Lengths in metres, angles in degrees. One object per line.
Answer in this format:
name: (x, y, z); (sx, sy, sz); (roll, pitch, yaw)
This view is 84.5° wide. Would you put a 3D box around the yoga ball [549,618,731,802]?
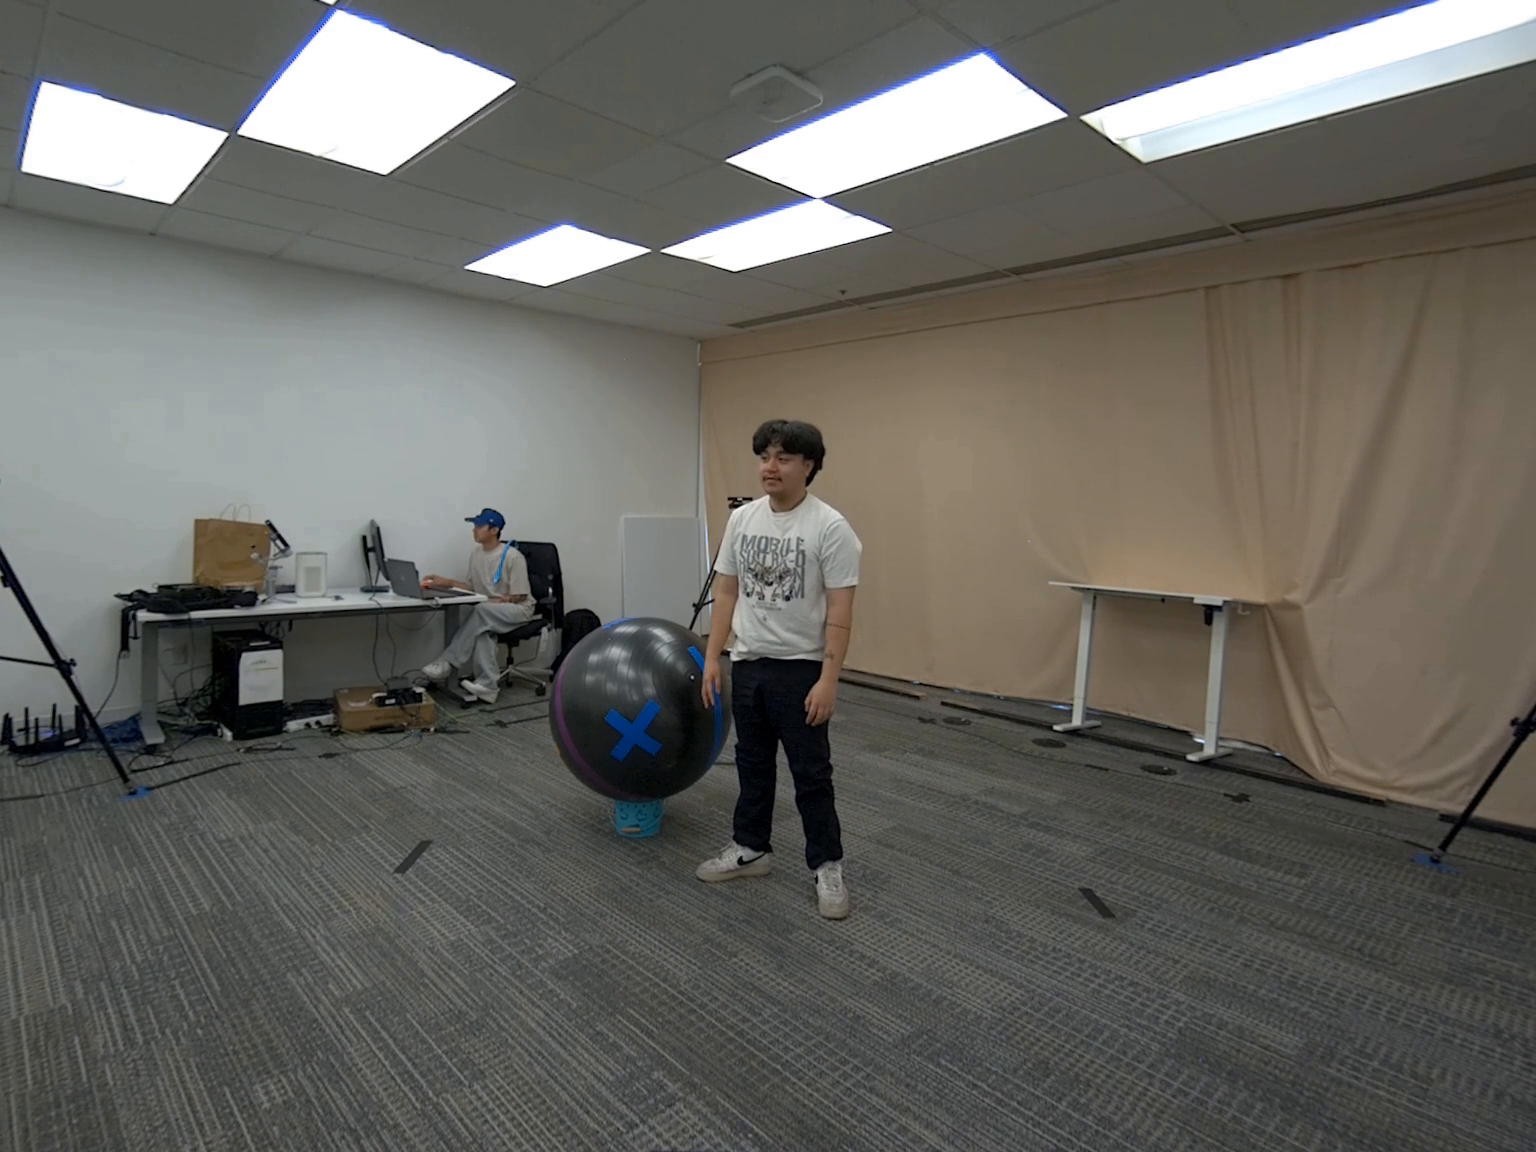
yoga ball: (-0.530, 0.552, 3.513); (0.757, 0.756, 0.760); (1, 4, -1)
